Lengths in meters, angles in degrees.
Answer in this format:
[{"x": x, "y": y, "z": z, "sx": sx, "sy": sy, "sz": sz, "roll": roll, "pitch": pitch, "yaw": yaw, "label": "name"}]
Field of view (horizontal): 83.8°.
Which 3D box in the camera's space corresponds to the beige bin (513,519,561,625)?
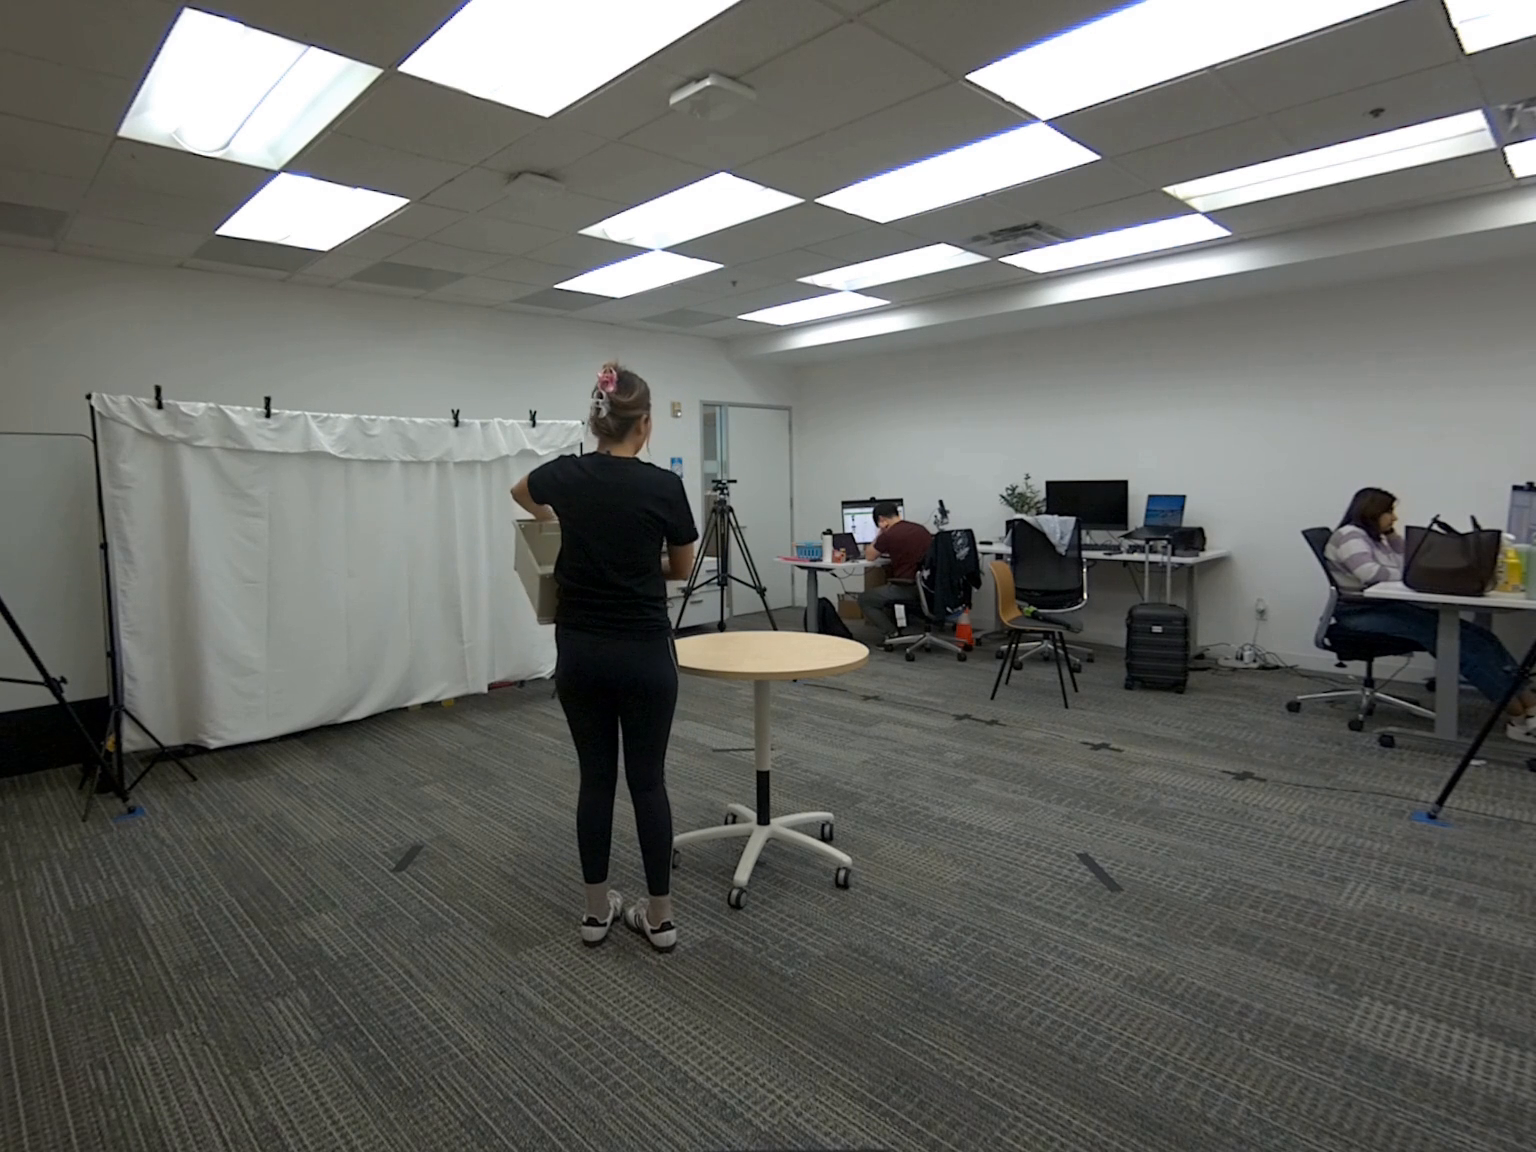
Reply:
[{"x": -0.623, "y": -0.025, "z": 2.823, "sx": 0.369, "sy": 0.186, "sz": 0.438, "roll": -5, "pitch": 27, "yaw": -25, "label": "beige bin"}]
